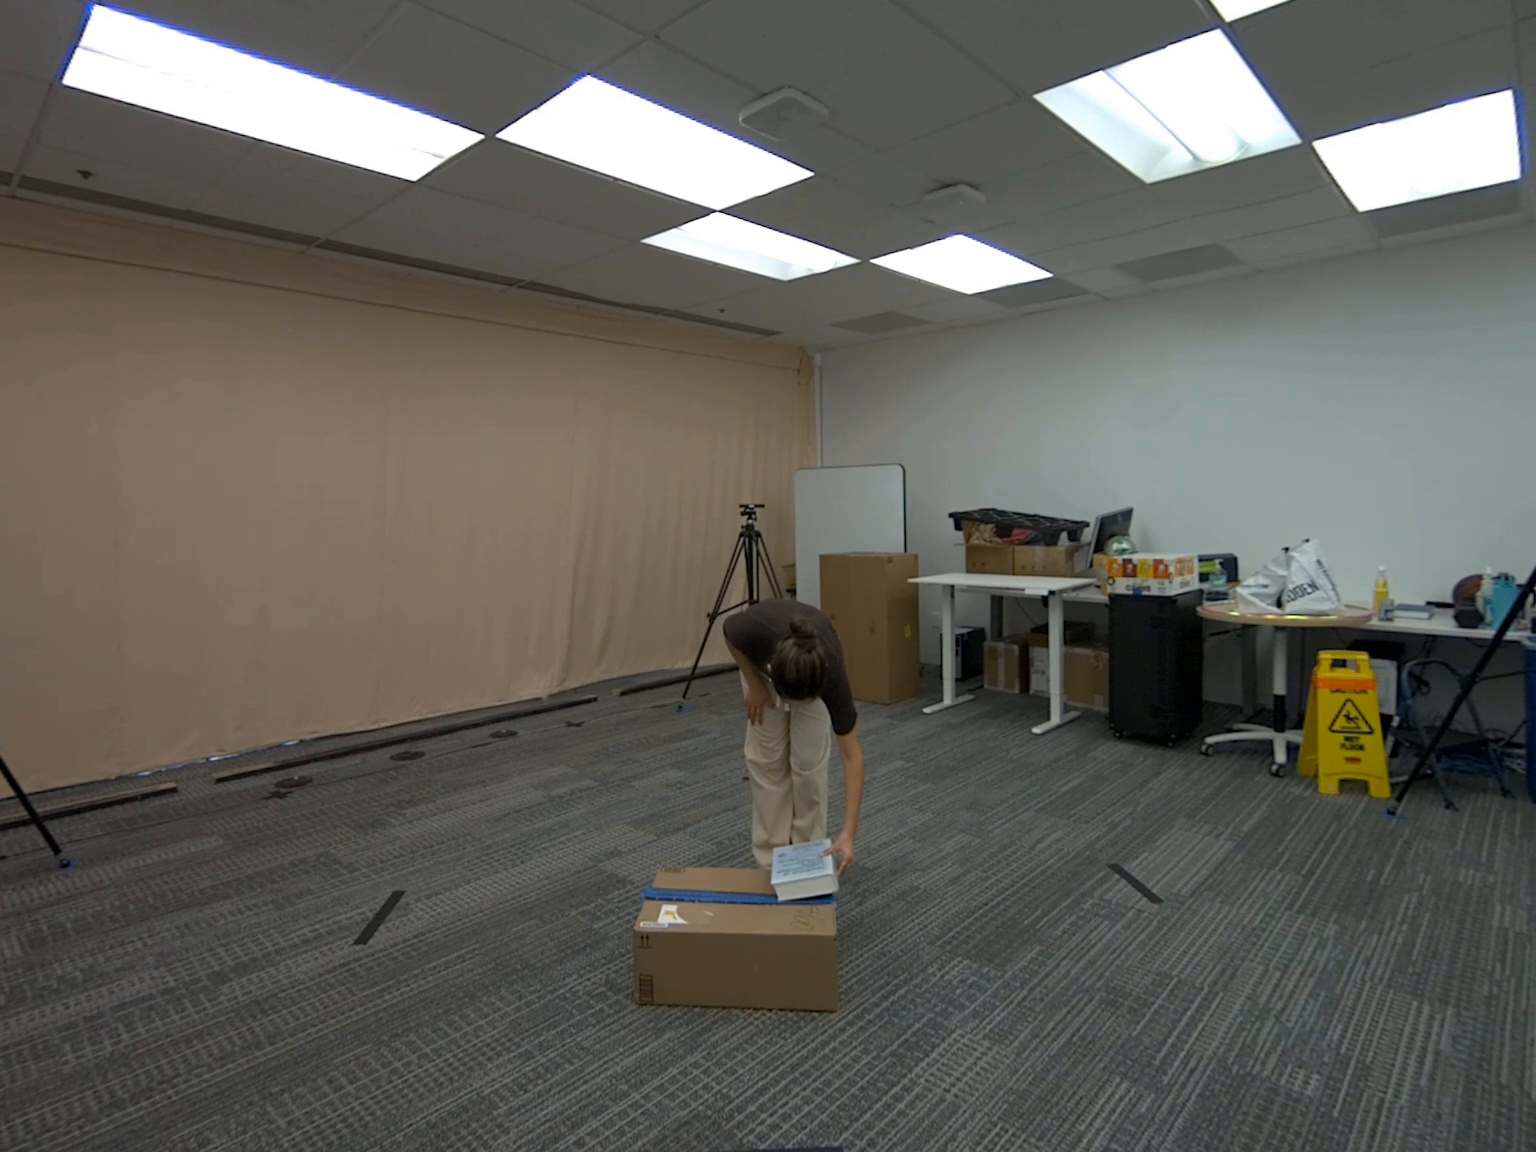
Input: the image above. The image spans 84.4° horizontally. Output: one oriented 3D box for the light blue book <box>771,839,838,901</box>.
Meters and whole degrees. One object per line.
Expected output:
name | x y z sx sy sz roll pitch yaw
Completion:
light blue book | 0.102 0.906 2.634 0.192 0.059 0.261 -12 4 3
